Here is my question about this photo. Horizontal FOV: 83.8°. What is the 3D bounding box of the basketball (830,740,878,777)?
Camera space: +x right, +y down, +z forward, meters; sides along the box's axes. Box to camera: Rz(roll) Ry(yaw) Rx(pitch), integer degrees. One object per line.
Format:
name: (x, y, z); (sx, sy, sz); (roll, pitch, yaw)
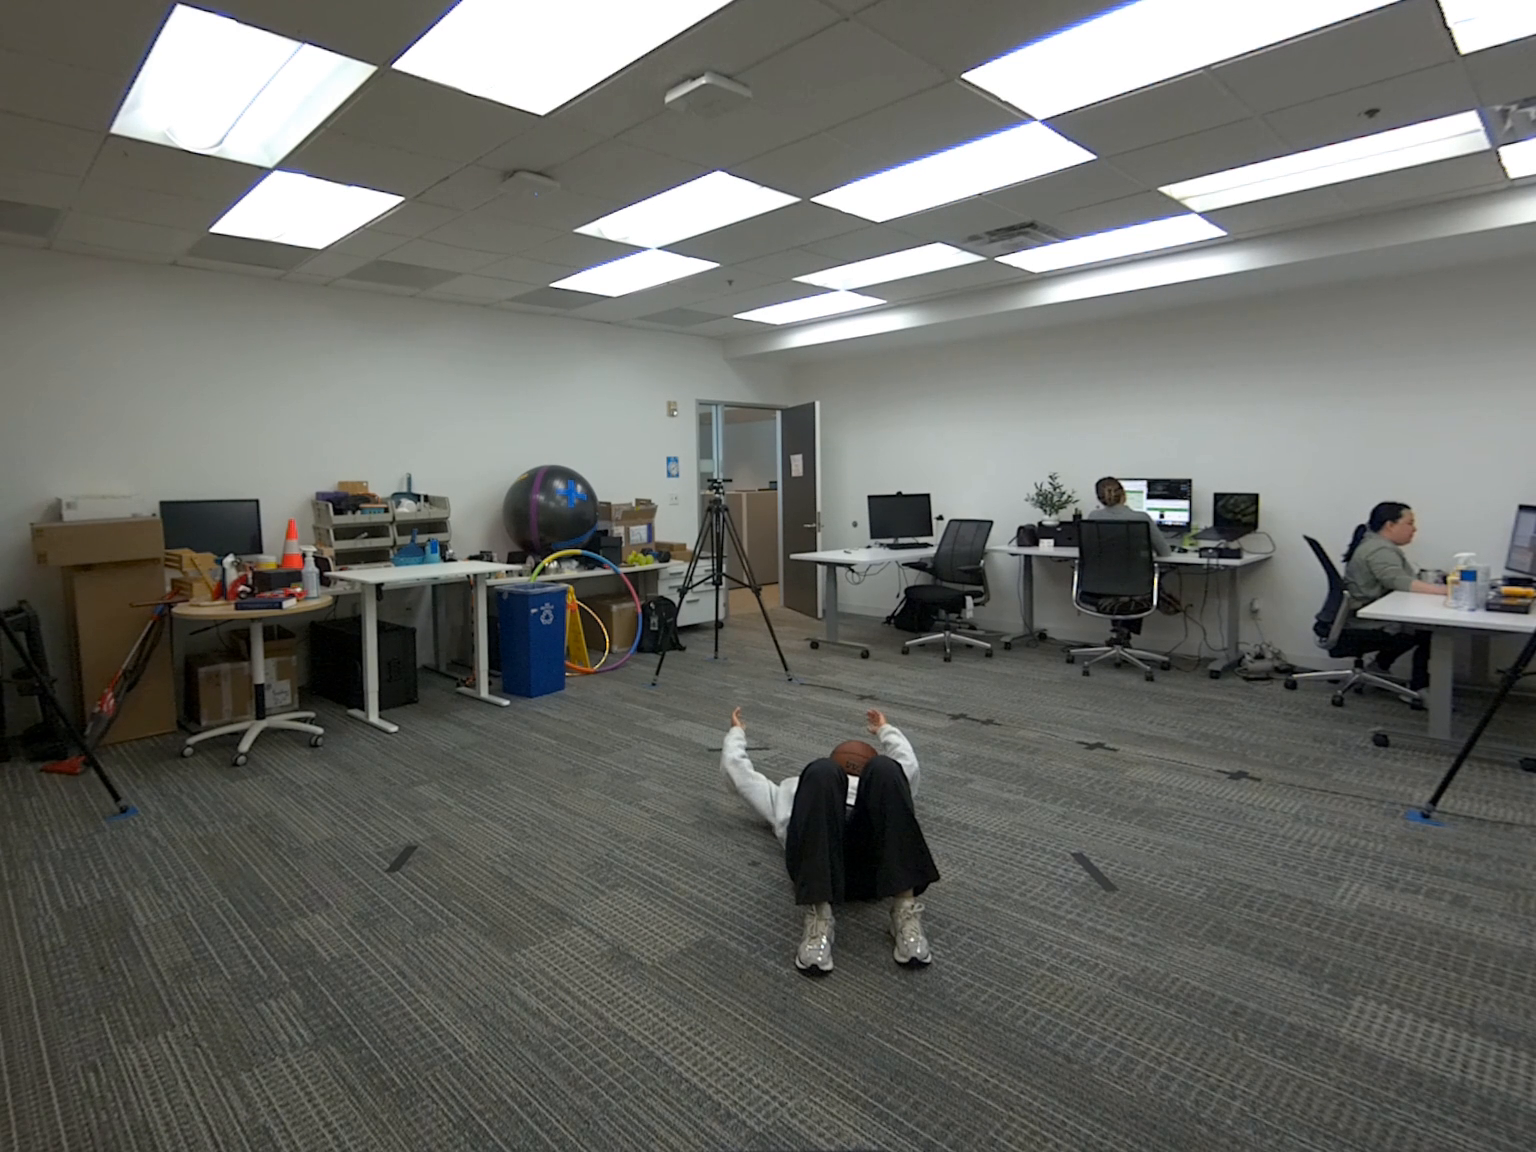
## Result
basketball: (0.389, 0.841, 3.768); (0.236, 0.235, 0.237); (-1, 5, -2)
